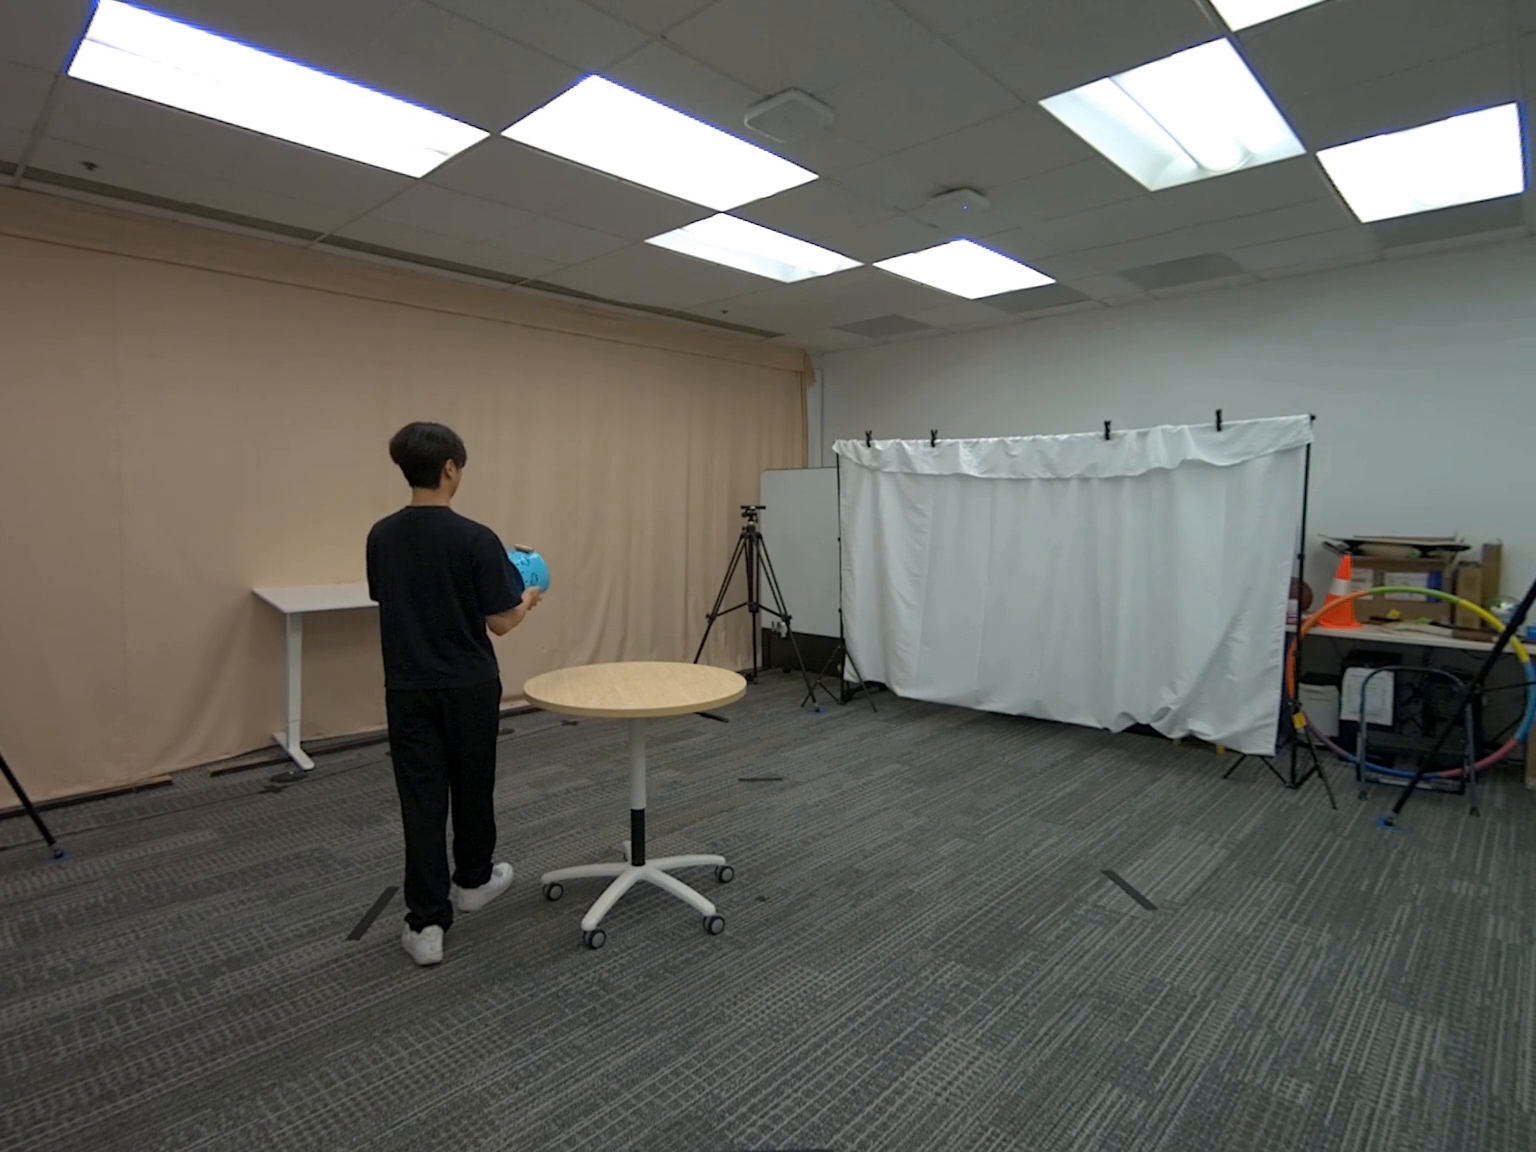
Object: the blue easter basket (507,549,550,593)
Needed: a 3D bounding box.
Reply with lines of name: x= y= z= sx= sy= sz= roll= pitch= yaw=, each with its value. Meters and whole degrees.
blue easter basket: x=-0.912 y=0.004 z=3.089 sx=0.251 sy=0.241 sz=0.153 roll=2 pitch=18 yaw=31
